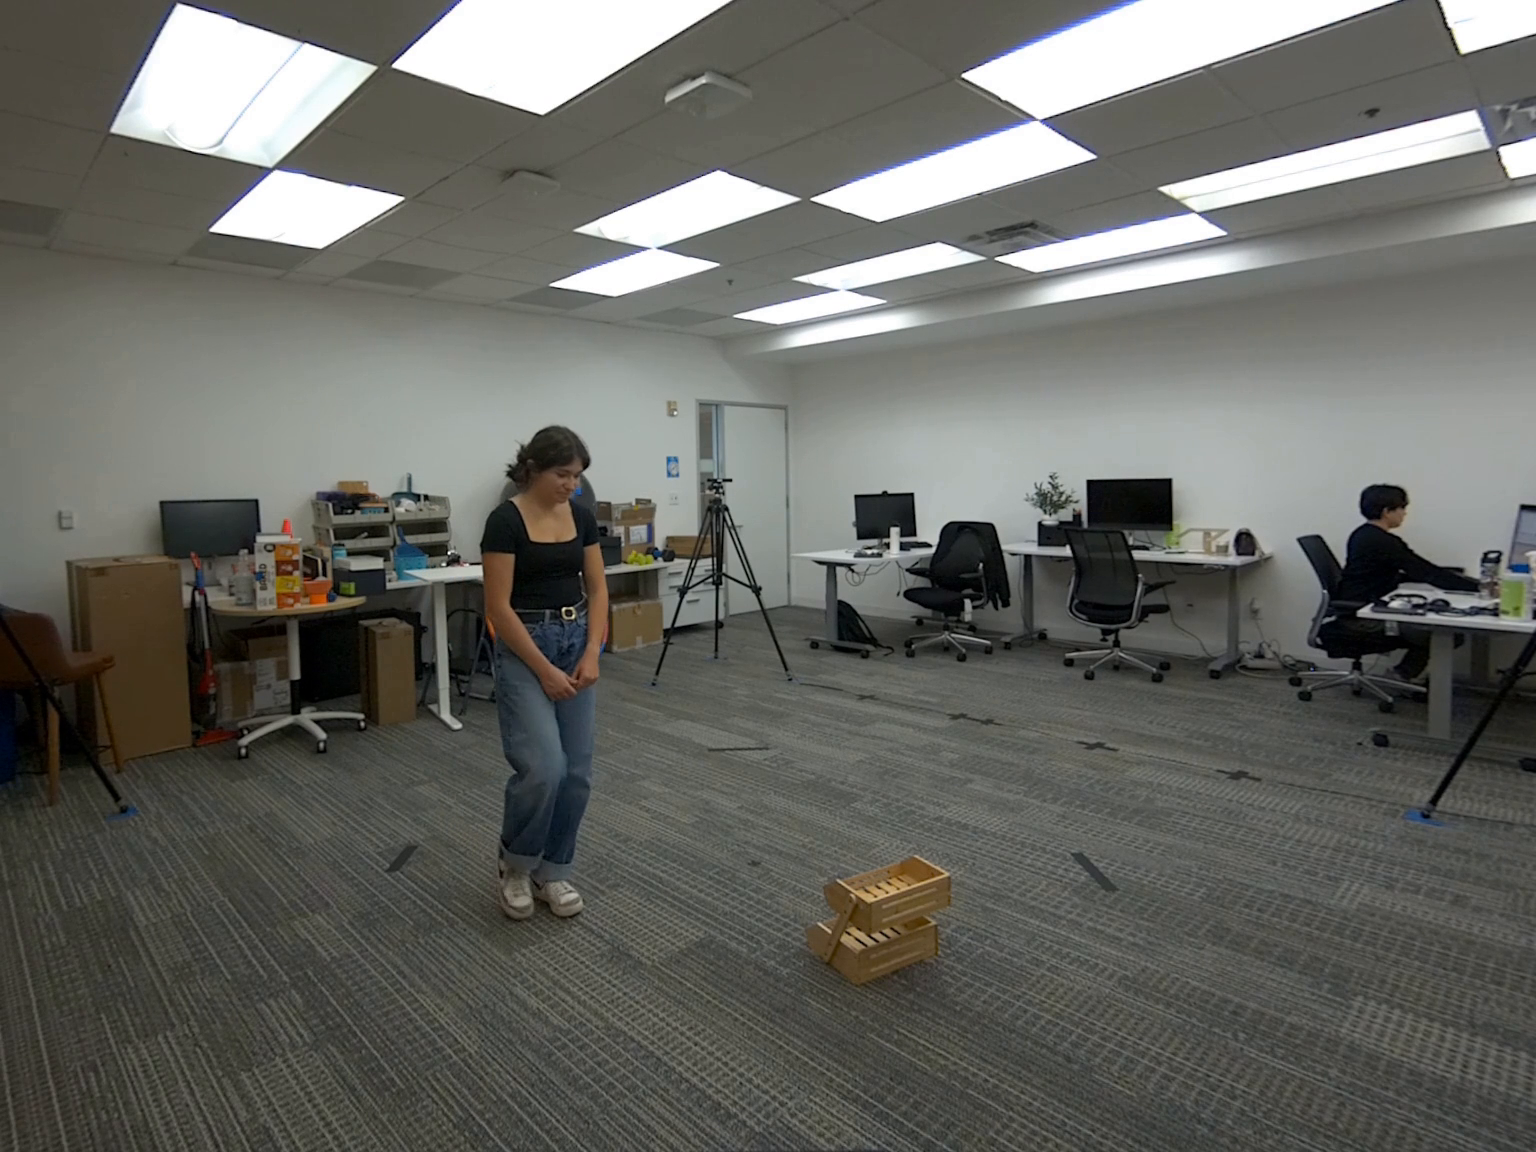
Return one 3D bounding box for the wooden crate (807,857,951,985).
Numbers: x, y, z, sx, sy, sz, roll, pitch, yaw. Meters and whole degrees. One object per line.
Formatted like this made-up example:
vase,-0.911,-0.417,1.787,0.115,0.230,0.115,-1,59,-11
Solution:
wooden crate,0.316,0.968,2.498,0.317,0.272,0.311,-5,7,-32
